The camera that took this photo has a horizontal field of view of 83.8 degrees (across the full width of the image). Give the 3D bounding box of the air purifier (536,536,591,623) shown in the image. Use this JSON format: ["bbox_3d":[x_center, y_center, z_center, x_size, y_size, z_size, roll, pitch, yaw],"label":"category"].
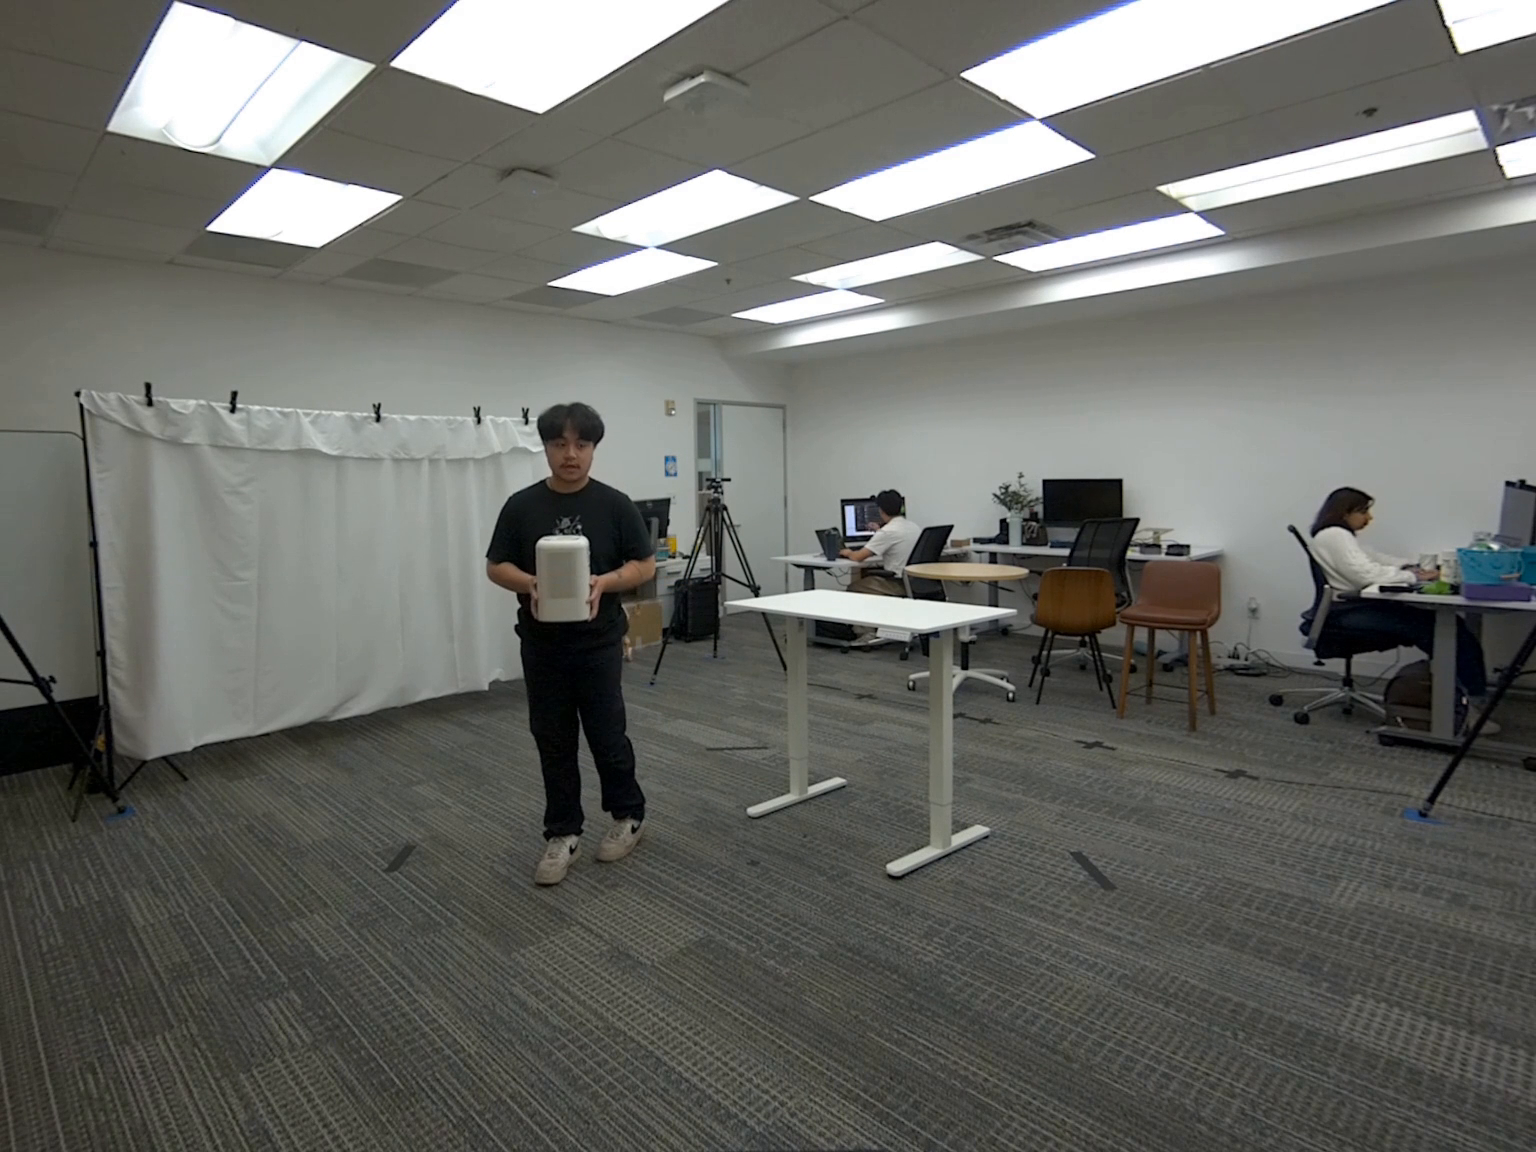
[{"bbox_3d":[-0.656,0.002,2.820,0.172,0.264,0.171,0,7,3],"label":"air purifier"}]
